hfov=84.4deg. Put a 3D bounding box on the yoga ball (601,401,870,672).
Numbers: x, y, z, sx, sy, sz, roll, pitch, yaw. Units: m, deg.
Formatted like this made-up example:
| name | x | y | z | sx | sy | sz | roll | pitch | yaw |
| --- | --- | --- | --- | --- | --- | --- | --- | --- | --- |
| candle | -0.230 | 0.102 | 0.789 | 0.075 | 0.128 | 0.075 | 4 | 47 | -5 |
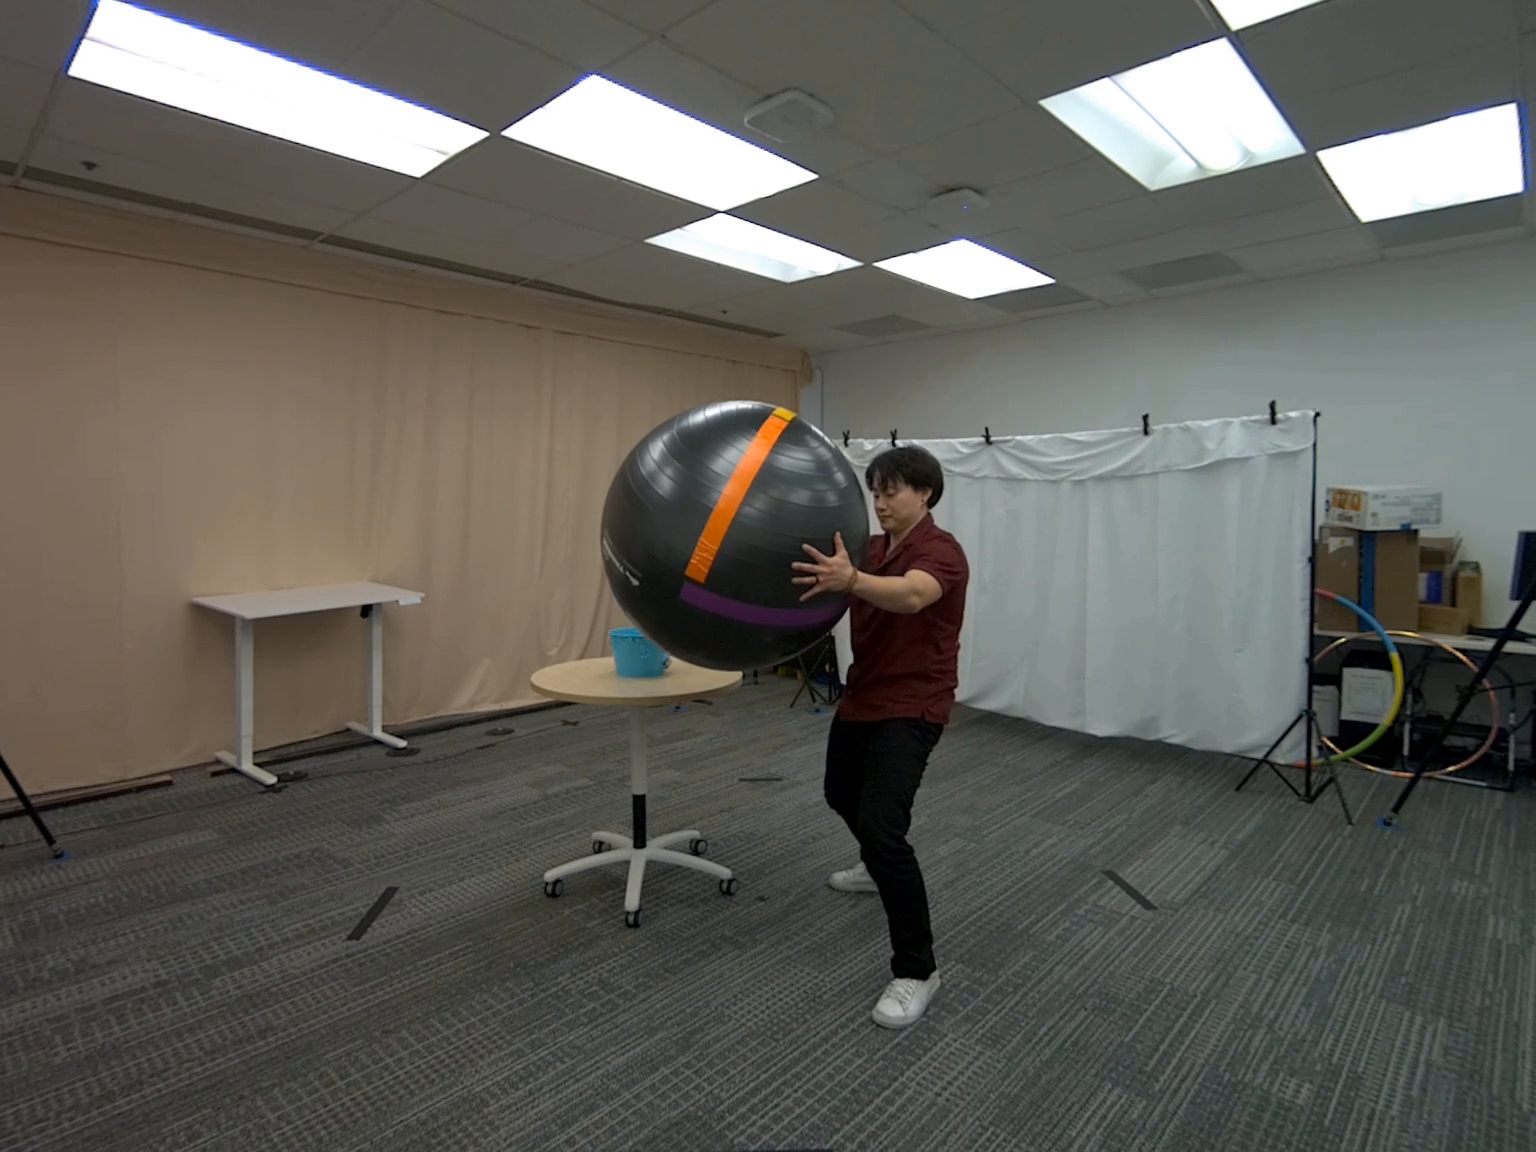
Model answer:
| name | x | y | z | sx | sy | sz | roll | pitch | yaw |
| --- | --- | --- | --- | --- | --- | --- | --- | --- | --- |
| yoga ball | -0.094 | -0.109 | 2.374 | 0.757 | 0.756 | 0.761 | 0 | 4 | -2 |
